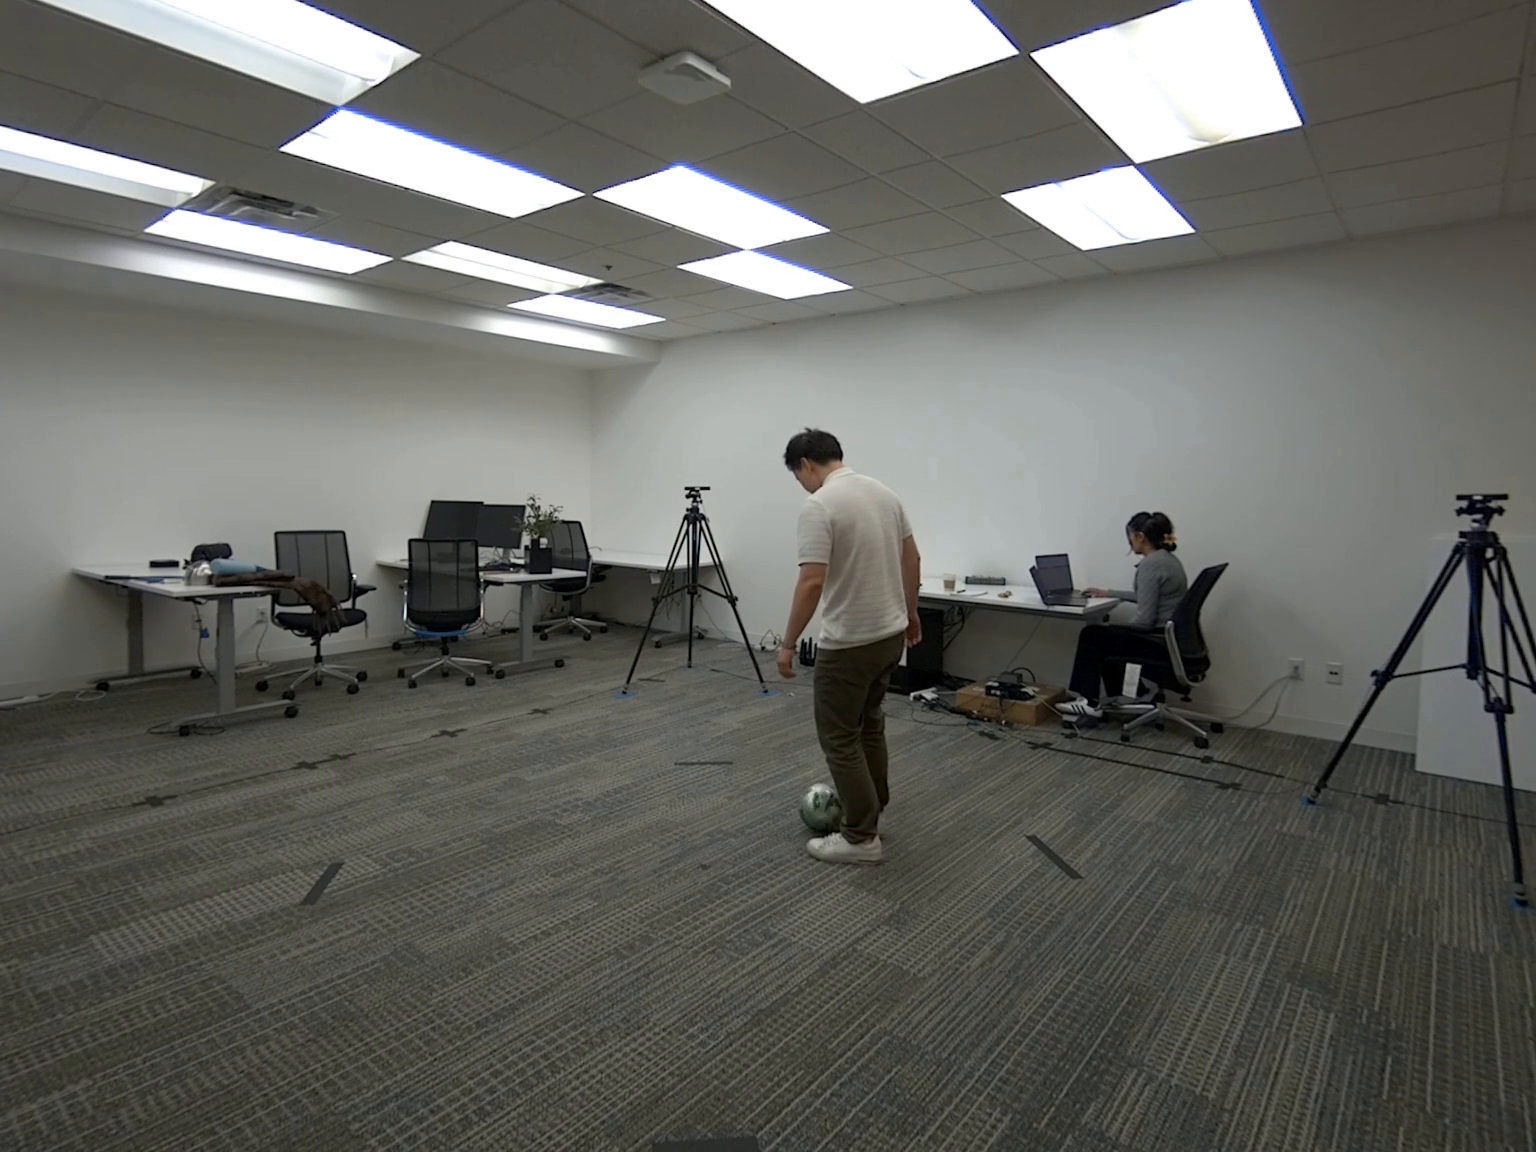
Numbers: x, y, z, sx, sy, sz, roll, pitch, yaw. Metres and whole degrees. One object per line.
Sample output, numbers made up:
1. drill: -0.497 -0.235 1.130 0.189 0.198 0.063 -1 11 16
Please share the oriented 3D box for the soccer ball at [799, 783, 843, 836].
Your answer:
1. soccer ball: 0.220 0.939 3.474 0.187 0.187 0.188 0 4 -2
